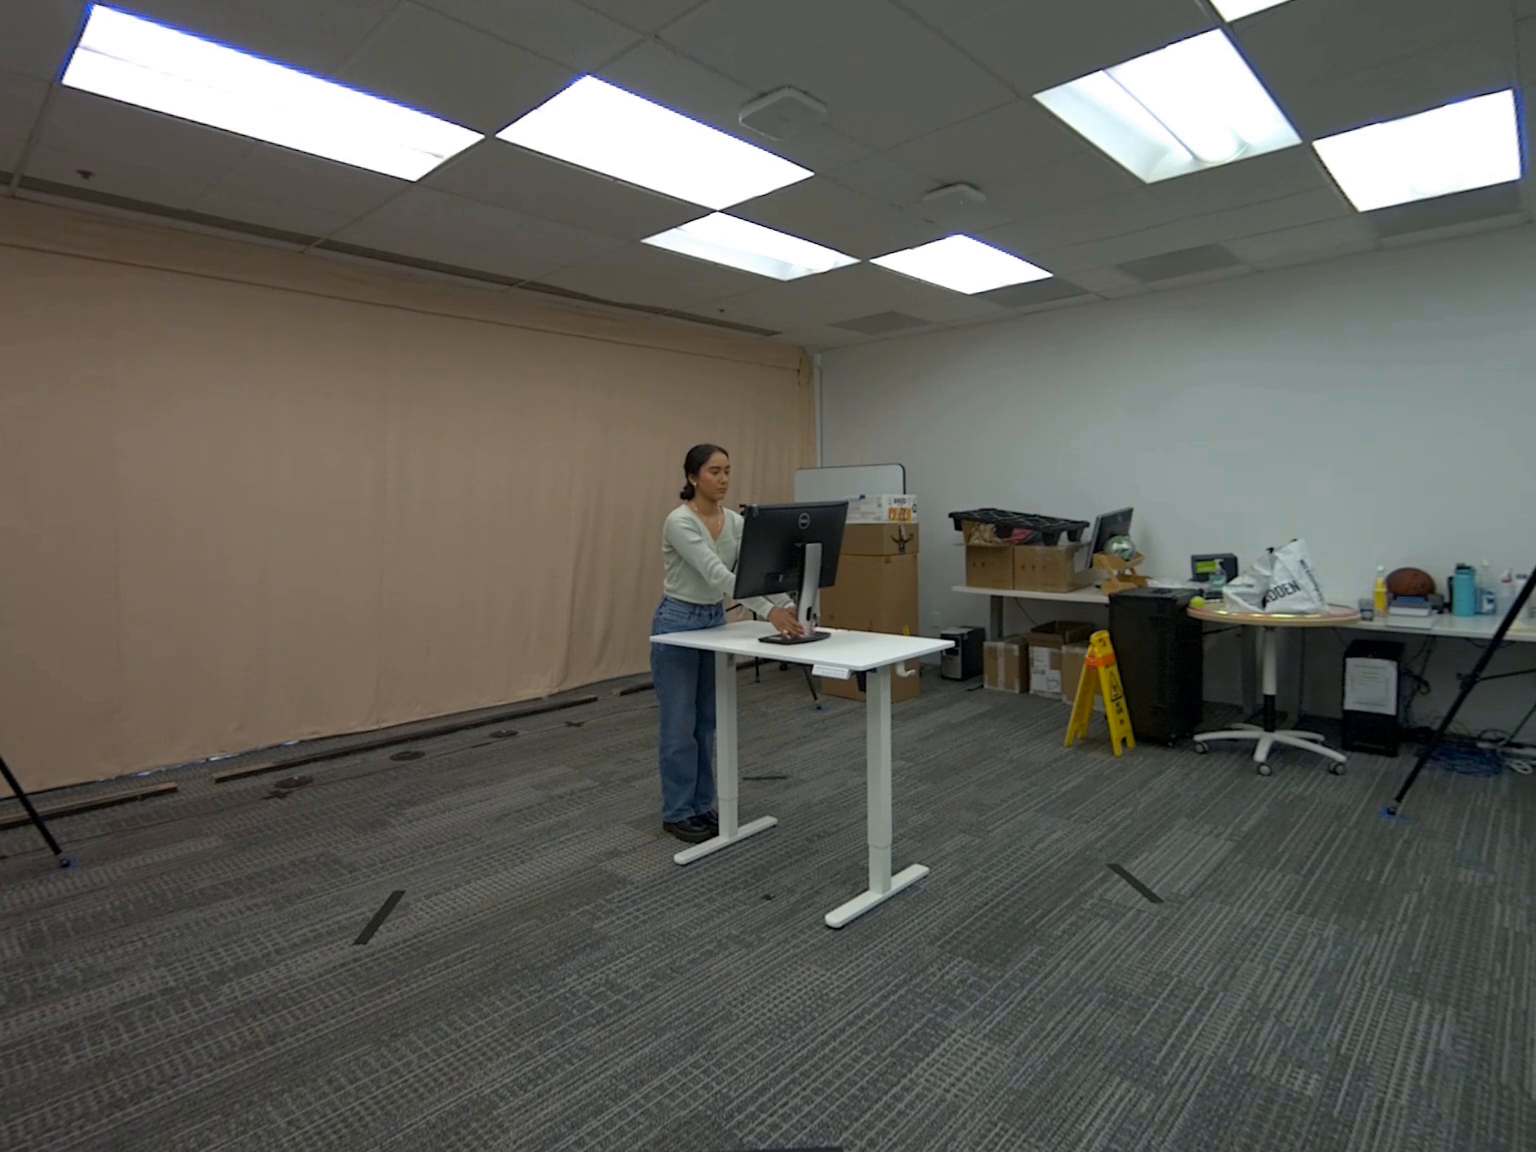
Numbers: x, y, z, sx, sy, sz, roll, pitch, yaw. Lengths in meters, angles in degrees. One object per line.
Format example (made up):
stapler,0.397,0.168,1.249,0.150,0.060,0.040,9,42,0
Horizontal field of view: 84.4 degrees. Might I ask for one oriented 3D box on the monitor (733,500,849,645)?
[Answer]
monitor,0.115,-0.012,3.147,0.523,0.521,0.193,-5,6,-43
